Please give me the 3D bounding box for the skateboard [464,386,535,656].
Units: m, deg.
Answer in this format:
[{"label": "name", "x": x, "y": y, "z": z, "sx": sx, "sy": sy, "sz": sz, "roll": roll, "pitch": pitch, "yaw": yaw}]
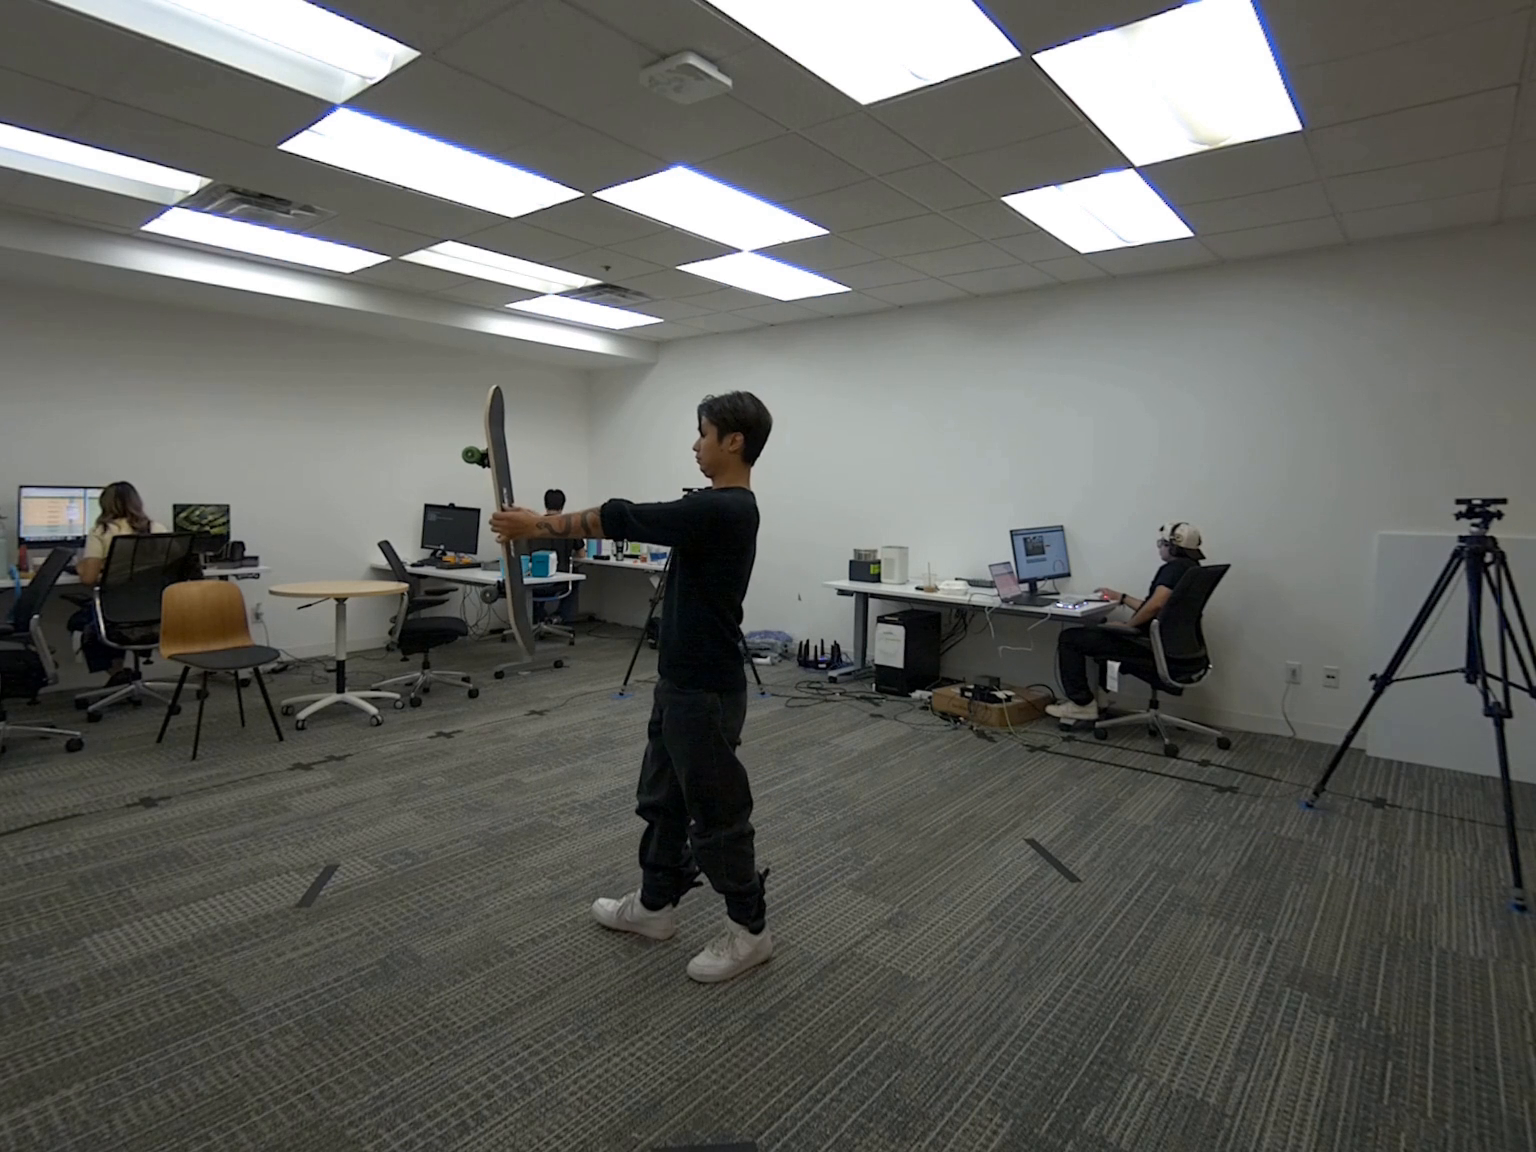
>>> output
[{"label": "skateboard", "x": -0.793, "y": -0.152, "z": 2.469, "sx": 0.110, "sy": 0.784, "sz": 0.195, "roll": -8, "pitch": 2, "yaw": -5}]
